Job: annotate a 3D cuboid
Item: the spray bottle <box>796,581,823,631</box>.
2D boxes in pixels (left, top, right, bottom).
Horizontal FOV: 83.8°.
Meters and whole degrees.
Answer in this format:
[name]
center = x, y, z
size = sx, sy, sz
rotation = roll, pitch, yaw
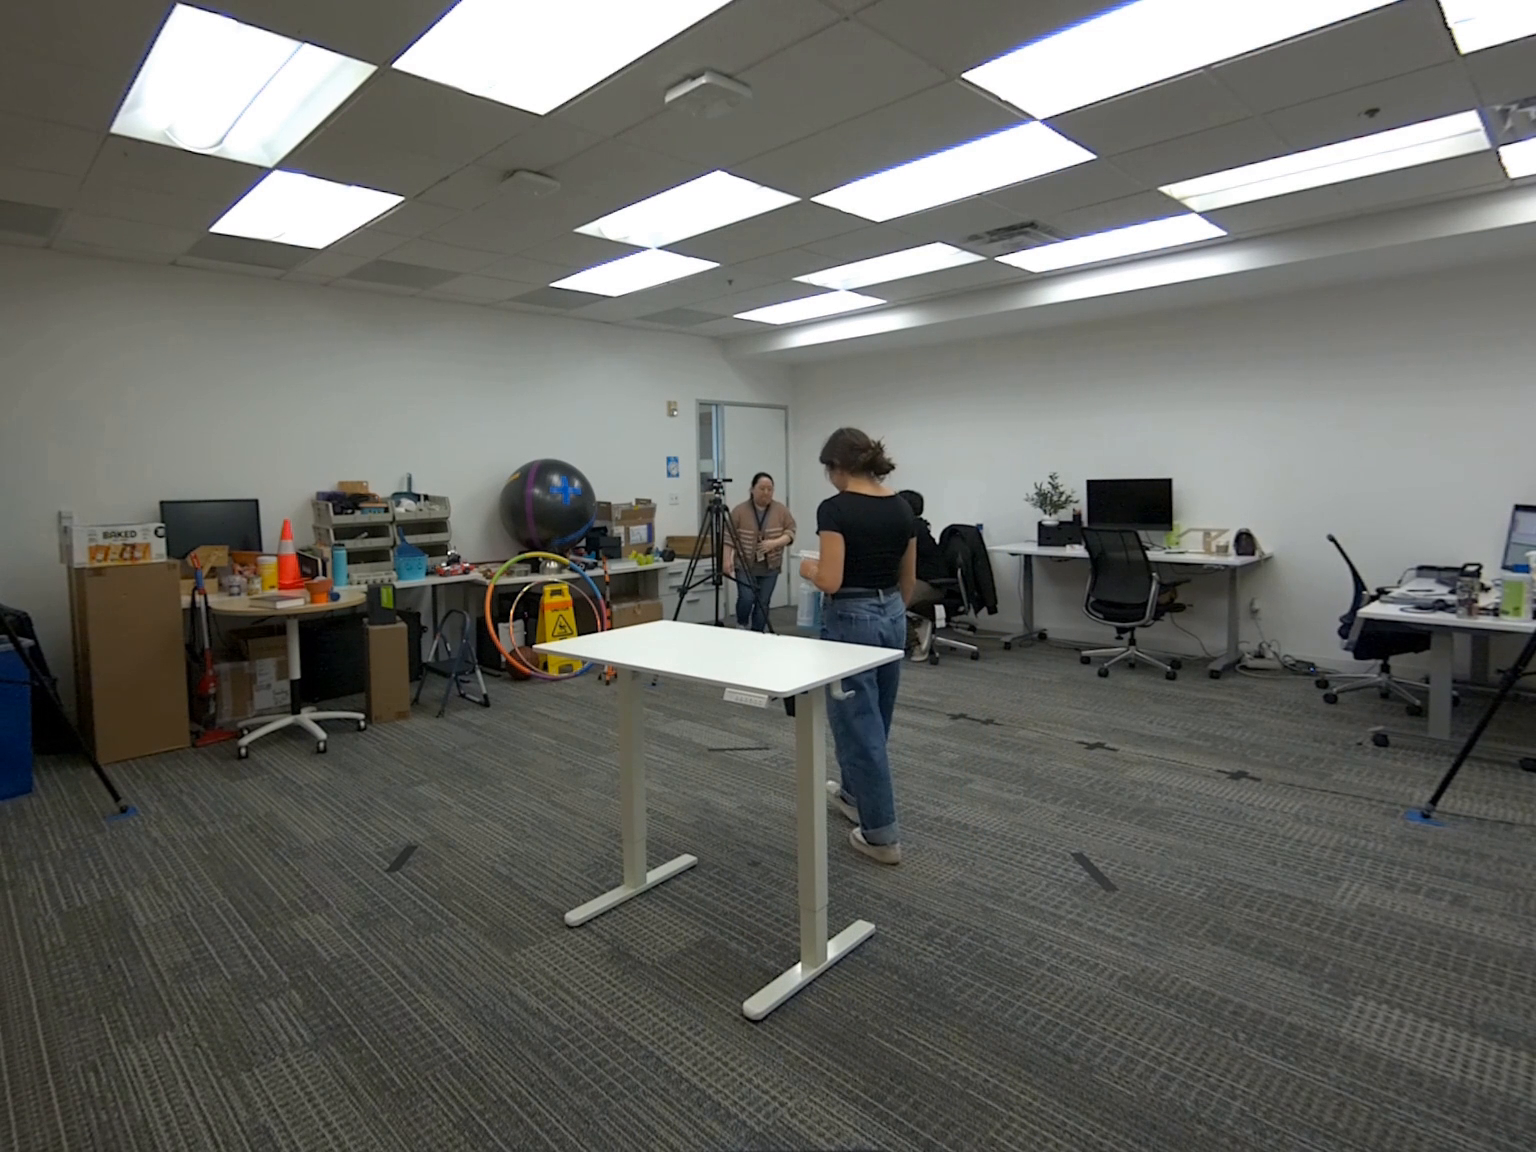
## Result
[spray bottle]
center = 0.170, 0.055, 3.248
size = 0.085, 0.298, 0.092
rotation = 3, -2, -33
